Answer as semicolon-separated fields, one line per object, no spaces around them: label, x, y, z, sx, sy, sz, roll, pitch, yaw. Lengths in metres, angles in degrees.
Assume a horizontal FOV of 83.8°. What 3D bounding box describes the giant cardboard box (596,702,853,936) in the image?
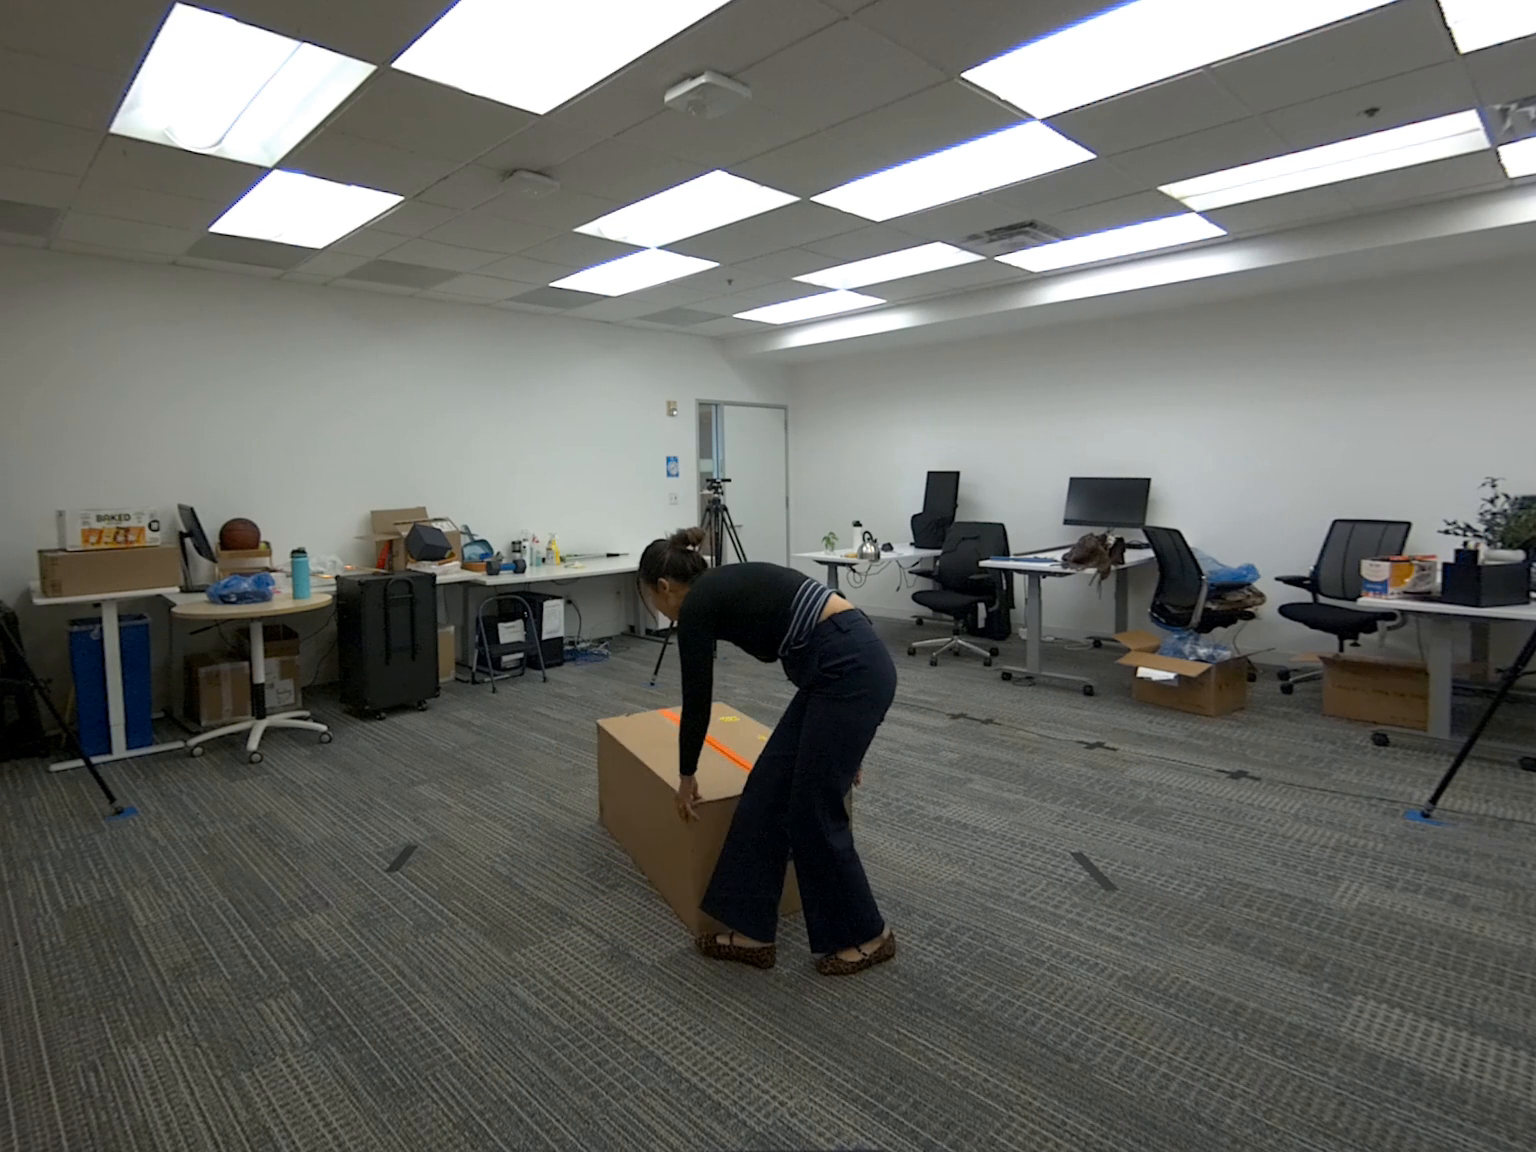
giant cardboard box;-0.211;0.826;3.168;0.565;0.424;1.053;-3;6;-27
